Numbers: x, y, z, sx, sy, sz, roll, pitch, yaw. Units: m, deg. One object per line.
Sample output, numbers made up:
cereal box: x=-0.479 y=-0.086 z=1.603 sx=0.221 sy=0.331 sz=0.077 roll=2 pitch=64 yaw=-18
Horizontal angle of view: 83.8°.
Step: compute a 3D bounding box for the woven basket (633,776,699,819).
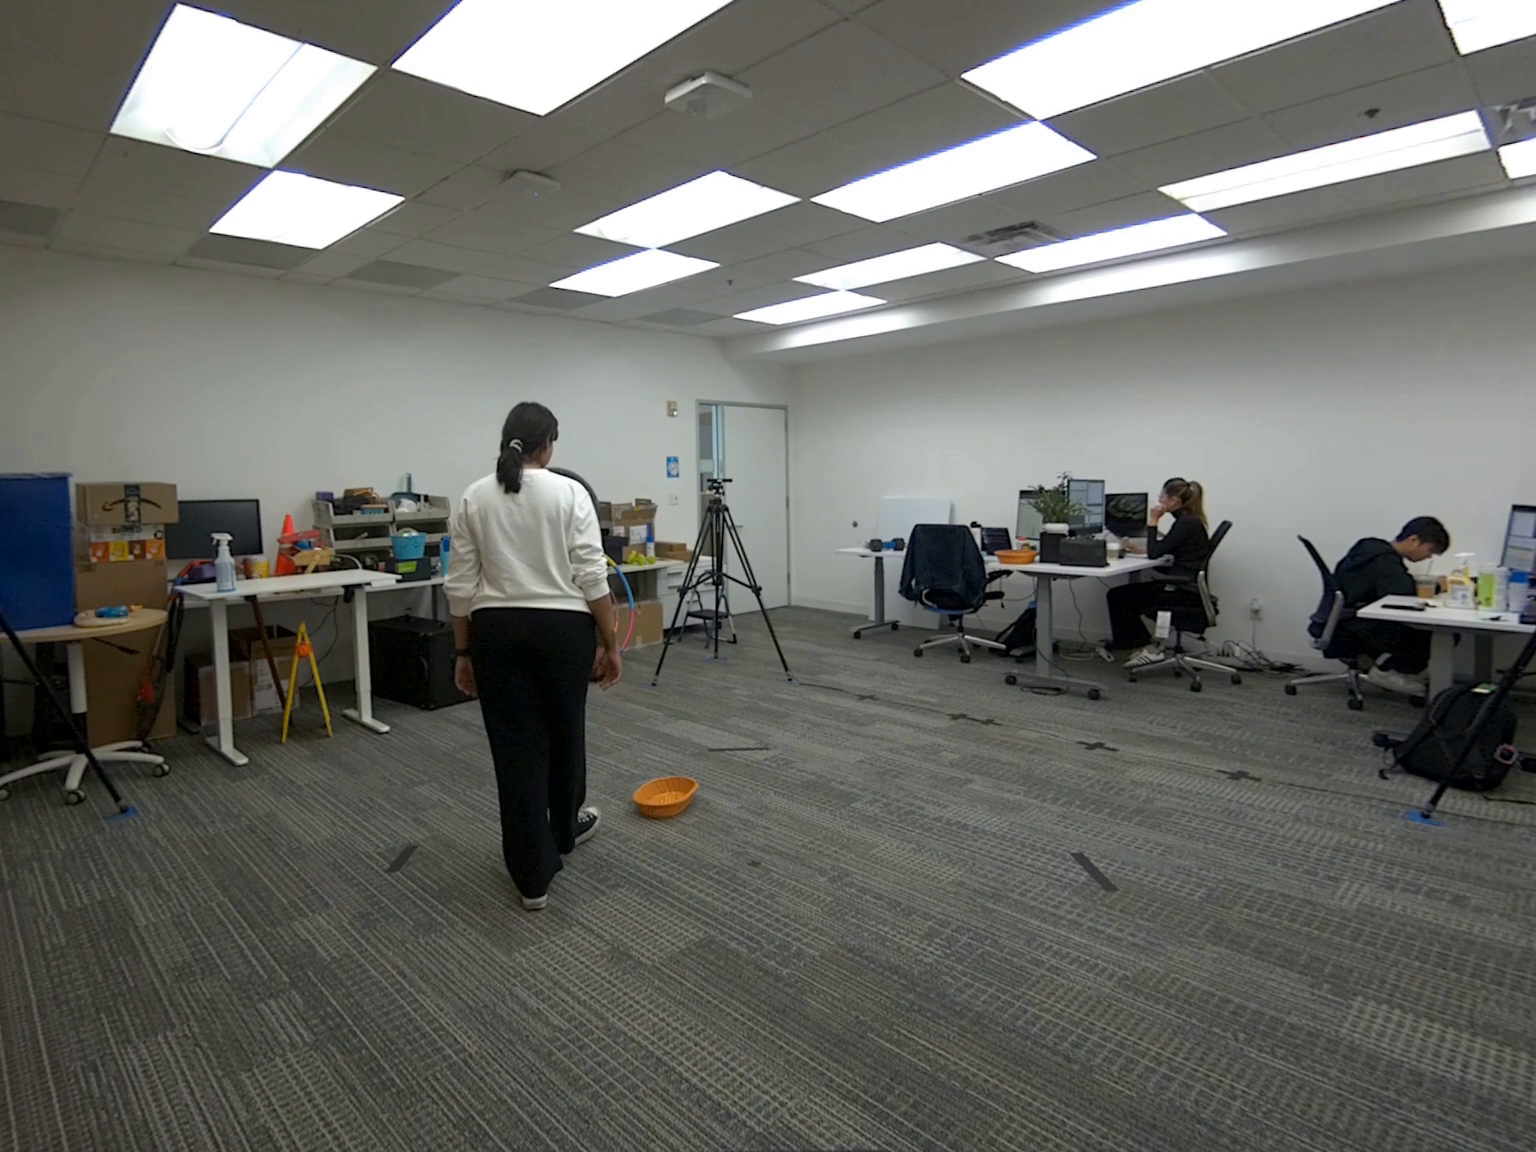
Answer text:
woven basket: x=-0.439 y=0.951 z=3.675 sx=0.257 sy=0.073 sz=0.345 roll=0 pitch=6 yaw=19
